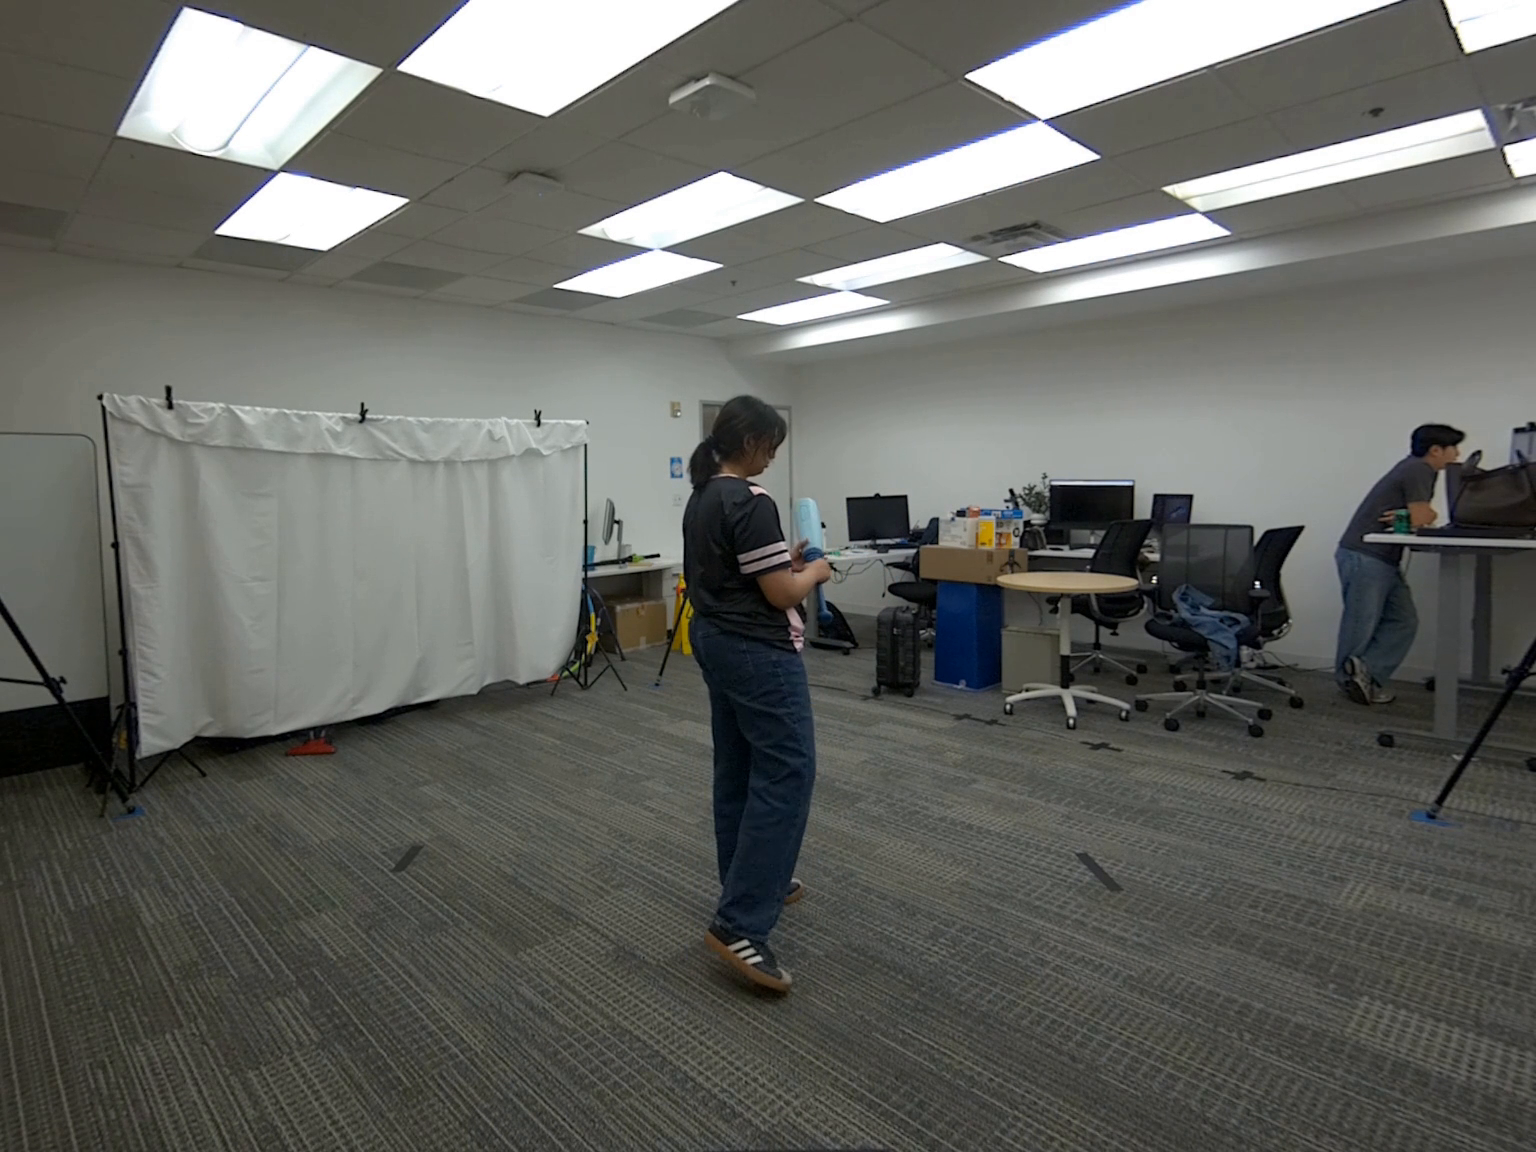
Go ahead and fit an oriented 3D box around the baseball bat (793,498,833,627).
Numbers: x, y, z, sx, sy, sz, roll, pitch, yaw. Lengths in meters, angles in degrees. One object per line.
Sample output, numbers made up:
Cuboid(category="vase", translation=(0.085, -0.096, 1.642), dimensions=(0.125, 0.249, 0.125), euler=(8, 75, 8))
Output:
Cuboid(category="baseball bat", translation=(0.143, -0.056, 2.860), dimensions=(0.089, 0.086, 0.559), euler=(-2, 46, -3))
